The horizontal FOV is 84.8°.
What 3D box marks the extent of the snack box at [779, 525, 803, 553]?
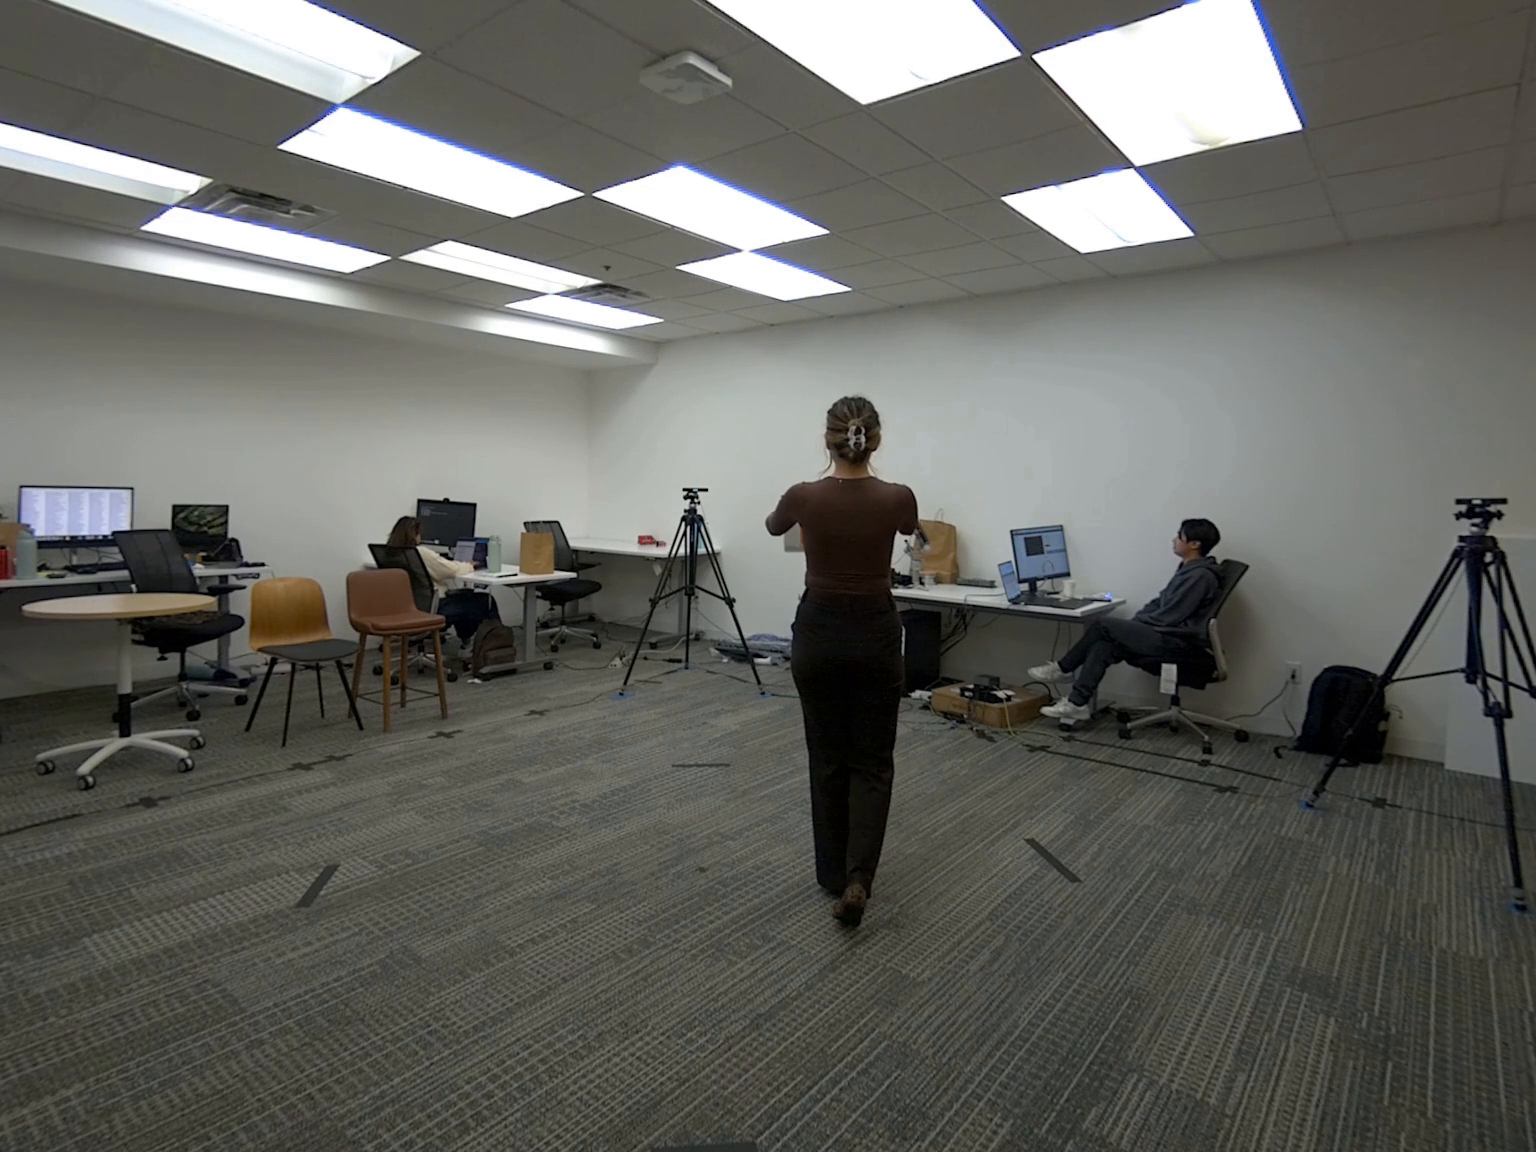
[{"bbox_3d":[0.256,-0.223,3.472,0.406,0.204,0.342,-1,9,2],"label":"snack box"}]
